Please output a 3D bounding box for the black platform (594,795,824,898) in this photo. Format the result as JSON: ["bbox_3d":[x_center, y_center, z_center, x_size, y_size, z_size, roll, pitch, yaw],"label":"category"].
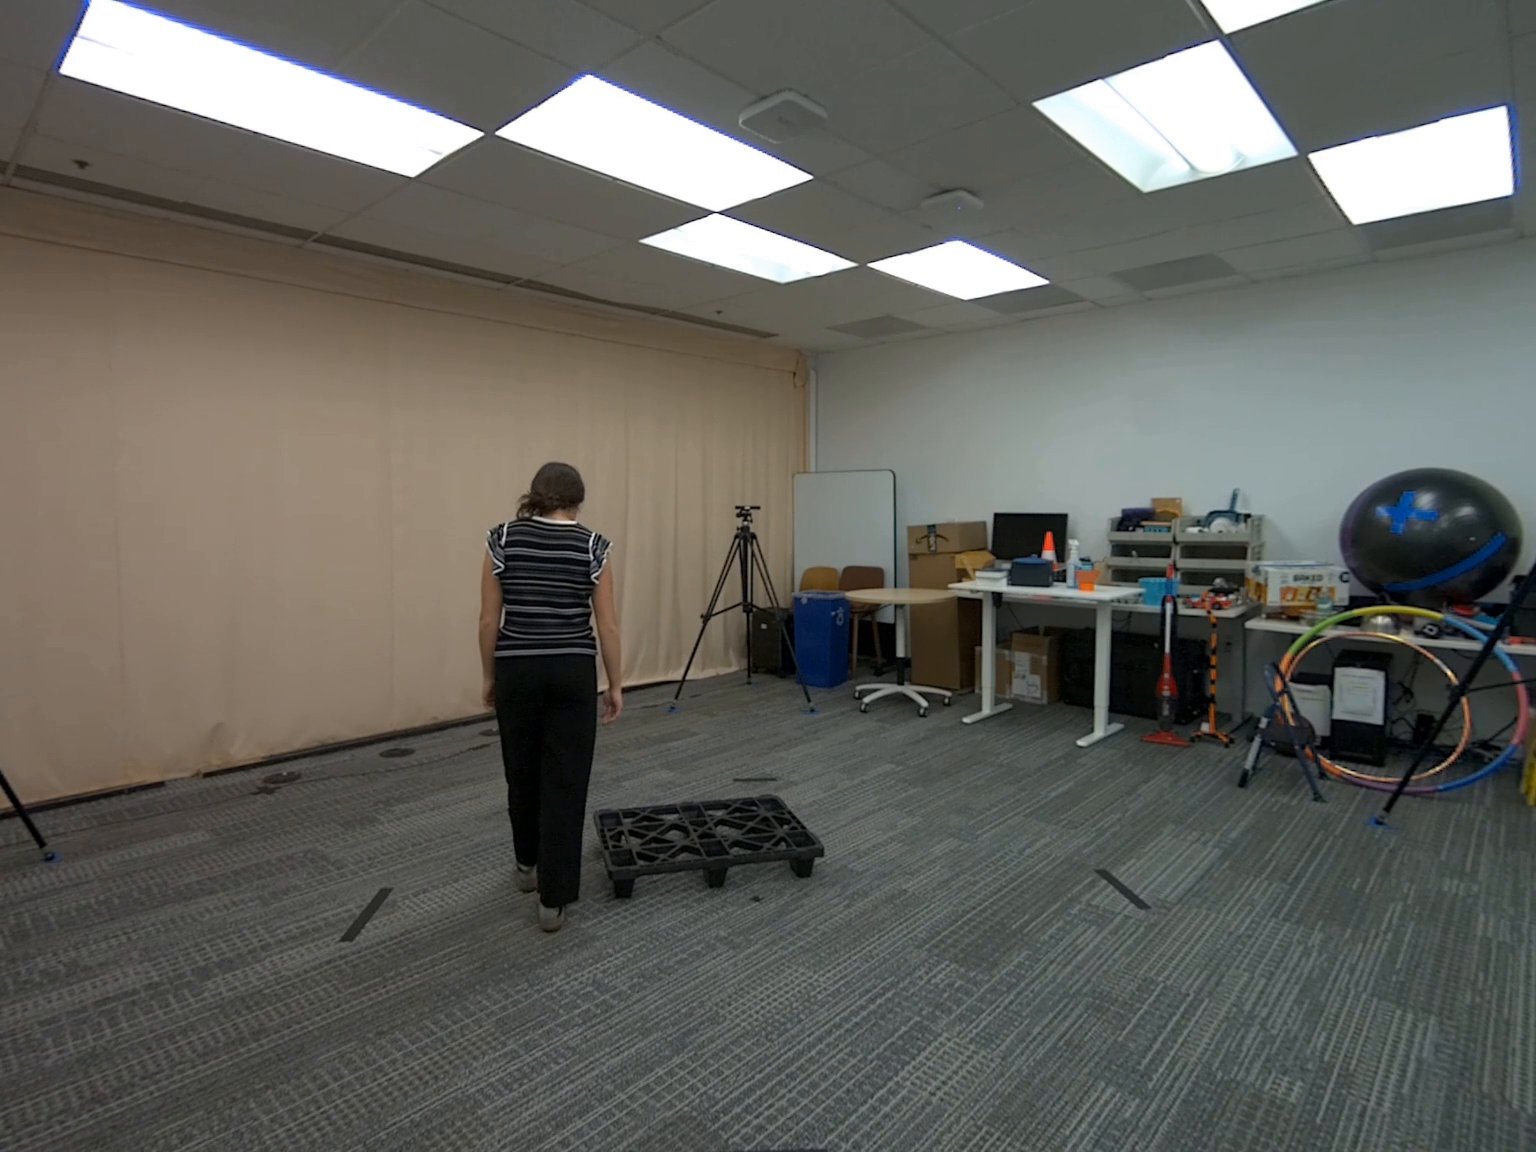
[{"bbox_3d":[-0.254,1.051,3.299,0.794,0.143,0.615,-1,4,-15],"label":"black platform"}]
